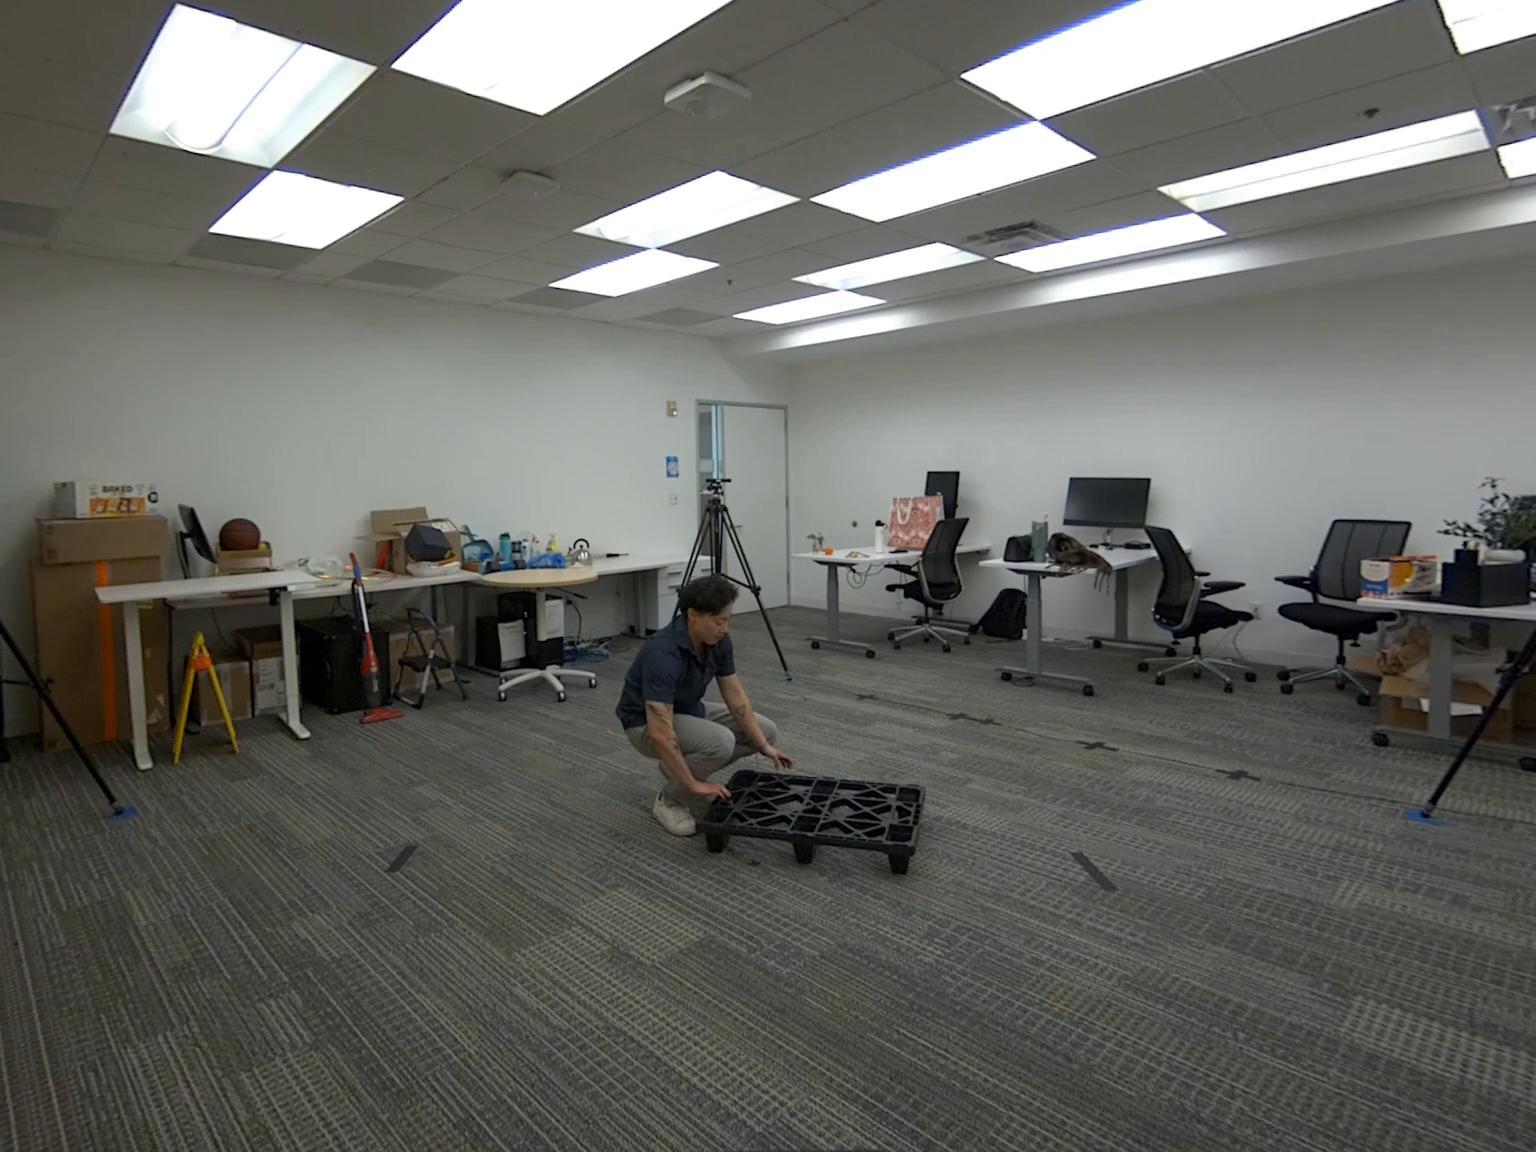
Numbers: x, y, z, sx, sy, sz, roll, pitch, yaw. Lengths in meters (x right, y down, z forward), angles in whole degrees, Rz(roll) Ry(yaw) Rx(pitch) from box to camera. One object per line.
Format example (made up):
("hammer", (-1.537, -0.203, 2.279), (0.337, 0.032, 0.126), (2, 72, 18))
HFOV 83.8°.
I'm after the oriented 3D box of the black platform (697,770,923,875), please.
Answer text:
("black platform", (0.184, 0.948, 3.320), (0.818, 0.143, 0.598), (1, 6, 16))
